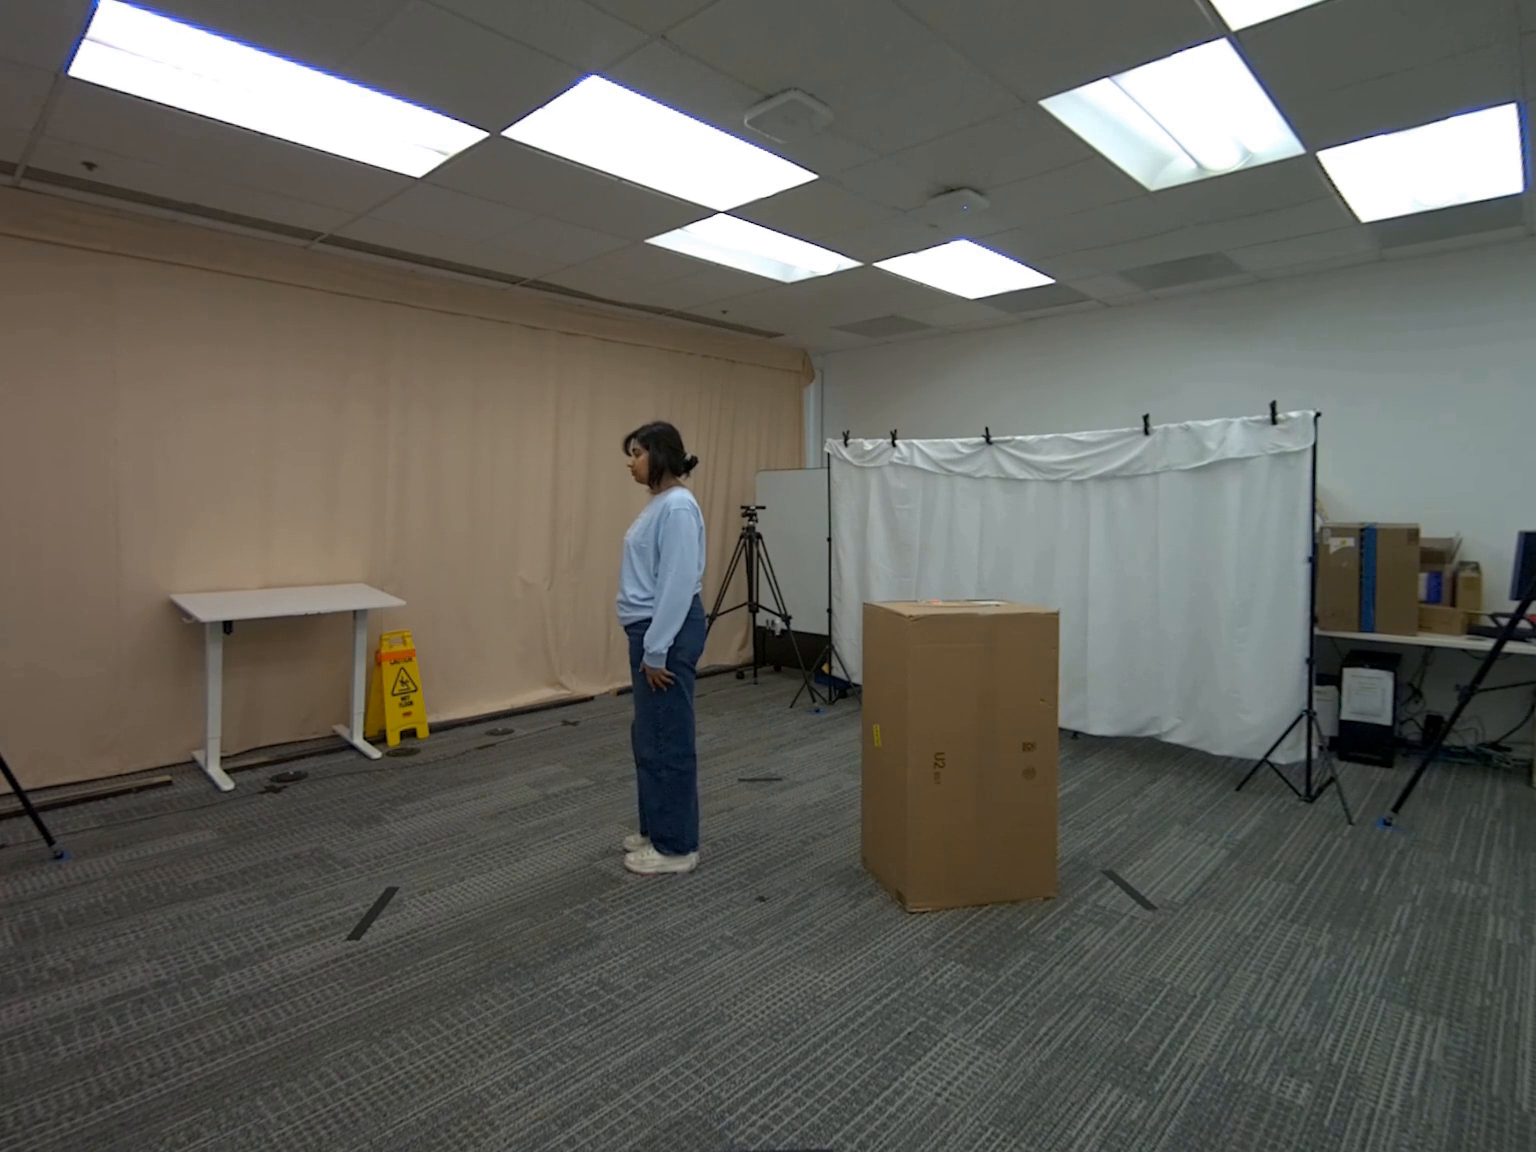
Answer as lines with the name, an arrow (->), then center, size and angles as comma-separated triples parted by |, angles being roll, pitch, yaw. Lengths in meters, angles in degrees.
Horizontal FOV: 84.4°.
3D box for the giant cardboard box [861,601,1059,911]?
giant cardboard box -> 0.701, 0.621, 3.113 | 0.577, 1.025, 0.453 | 0, 2, -12
